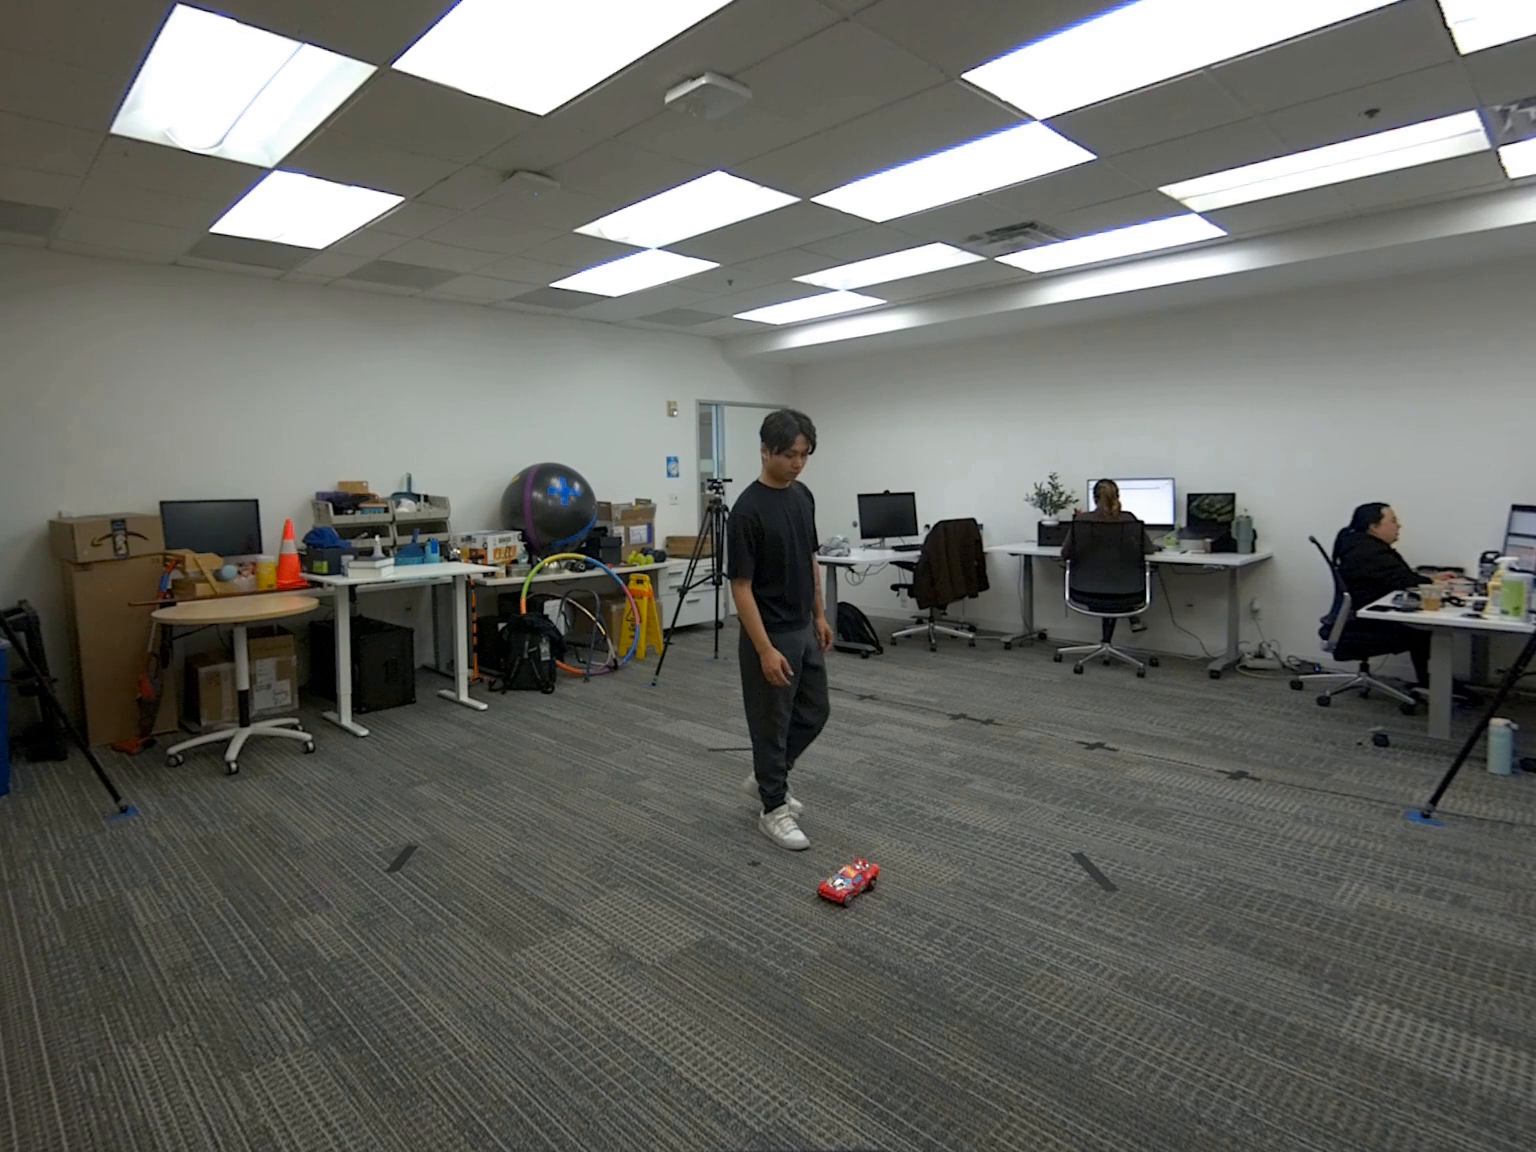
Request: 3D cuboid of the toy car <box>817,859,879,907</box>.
[{"bbox_3d":[0.281,1.032,2.885,0.134,0.082,0.250,3,18,41],"label":"toy car"}]
